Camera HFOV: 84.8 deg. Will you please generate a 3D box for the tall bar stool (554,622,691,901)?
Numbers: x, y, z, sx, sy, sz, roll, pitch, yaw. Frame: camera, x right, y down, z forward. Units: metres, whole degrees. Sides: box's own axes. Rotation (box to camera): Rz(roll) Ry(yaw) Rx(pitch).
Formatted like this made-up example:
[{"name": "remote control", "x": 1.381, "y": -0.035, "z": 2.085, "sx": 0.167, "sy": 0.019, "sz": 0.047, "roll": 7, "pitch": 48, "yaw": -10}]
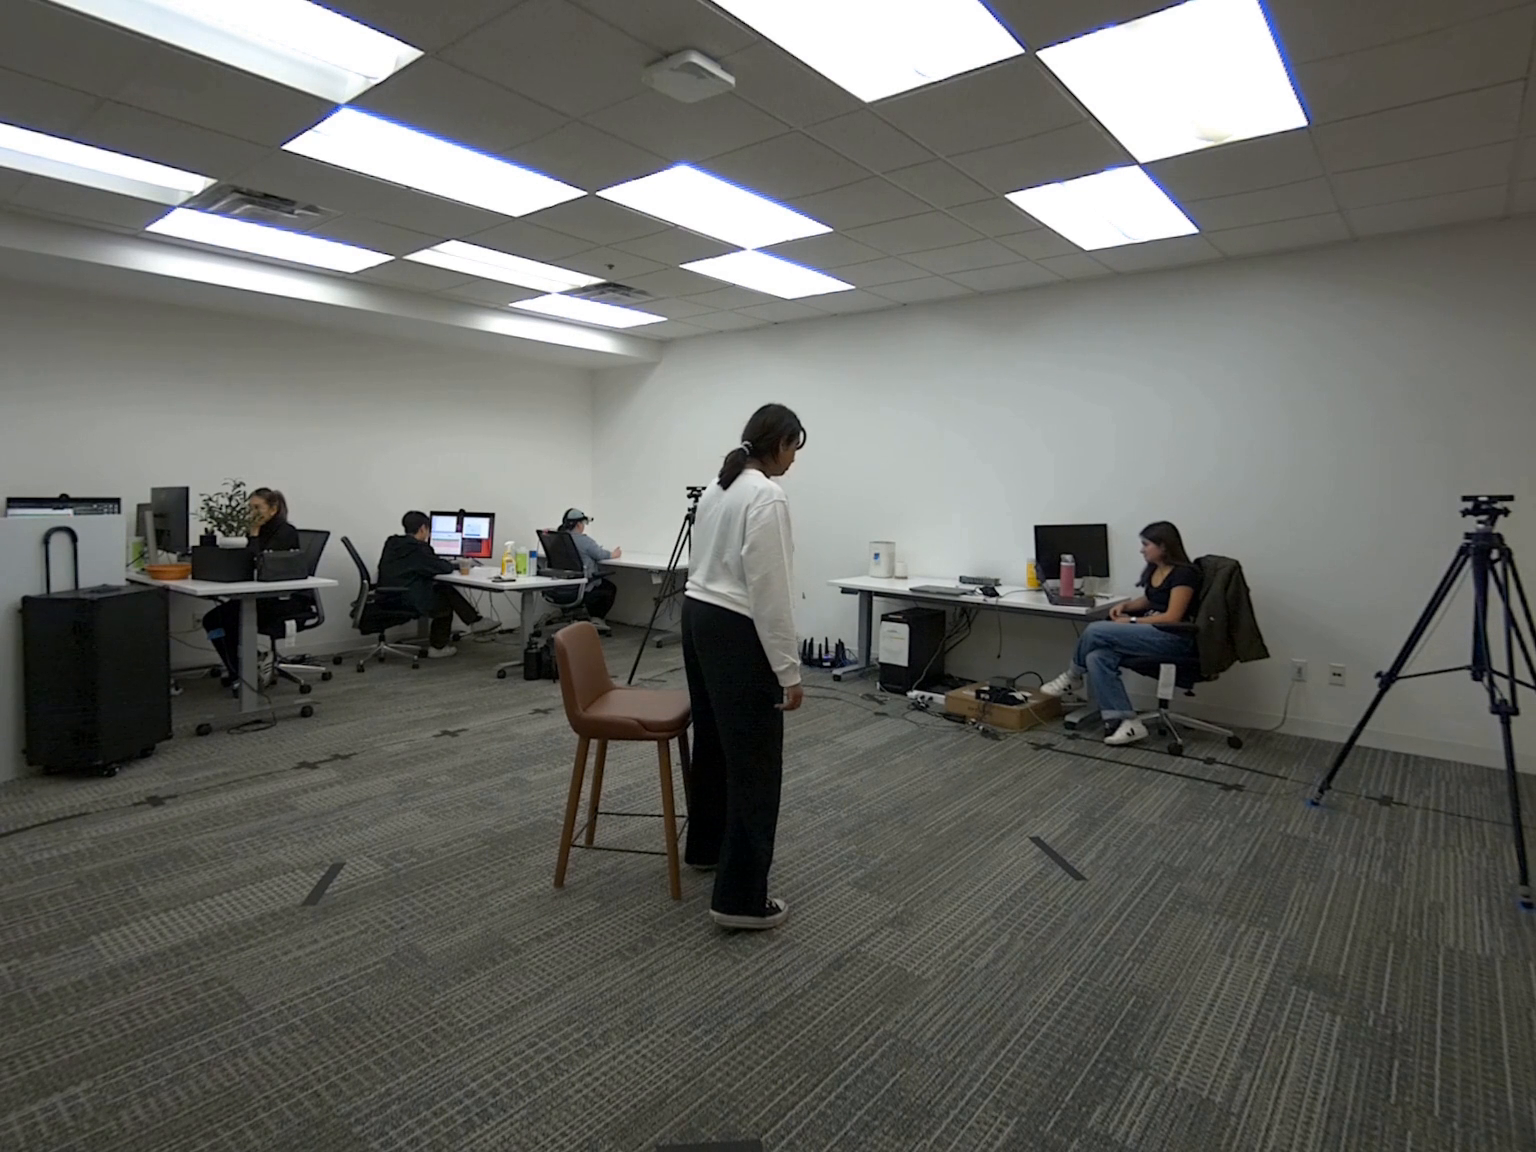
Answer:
[{"name": "tall bar stool", "x": -0.504, "y": 0.631, "z": 3.069, "sx": 0.472, "sy": 0.887, "sz": 0.453, "roll": -1, "pitch": 3, "yaw": 8}]
